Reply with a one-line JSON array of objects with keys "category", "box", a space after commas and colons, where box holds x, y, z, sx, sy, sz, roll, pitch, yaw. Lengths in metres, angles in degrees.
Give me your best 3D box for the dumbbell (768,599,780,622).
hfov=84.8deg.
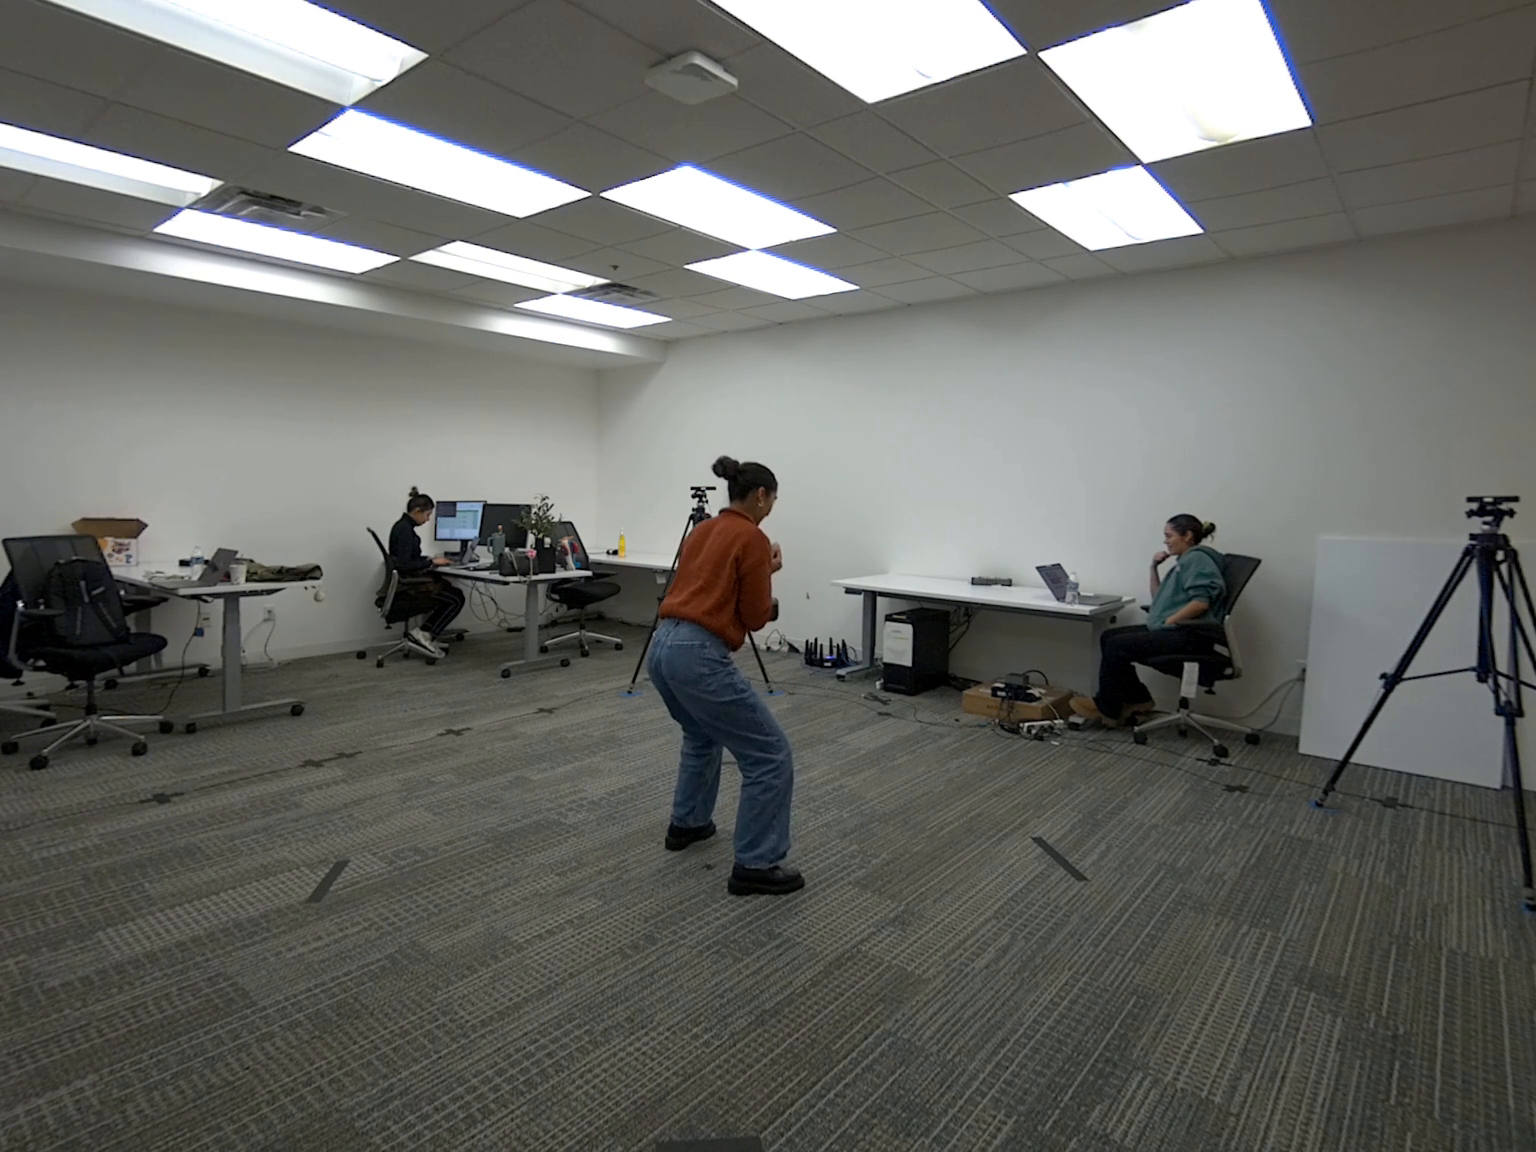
[{"category": "dumbbell", "box": [-0.026, 0.037, 3.211, 0.127, 0.290, 0.106, 6, 15, 45]}]
